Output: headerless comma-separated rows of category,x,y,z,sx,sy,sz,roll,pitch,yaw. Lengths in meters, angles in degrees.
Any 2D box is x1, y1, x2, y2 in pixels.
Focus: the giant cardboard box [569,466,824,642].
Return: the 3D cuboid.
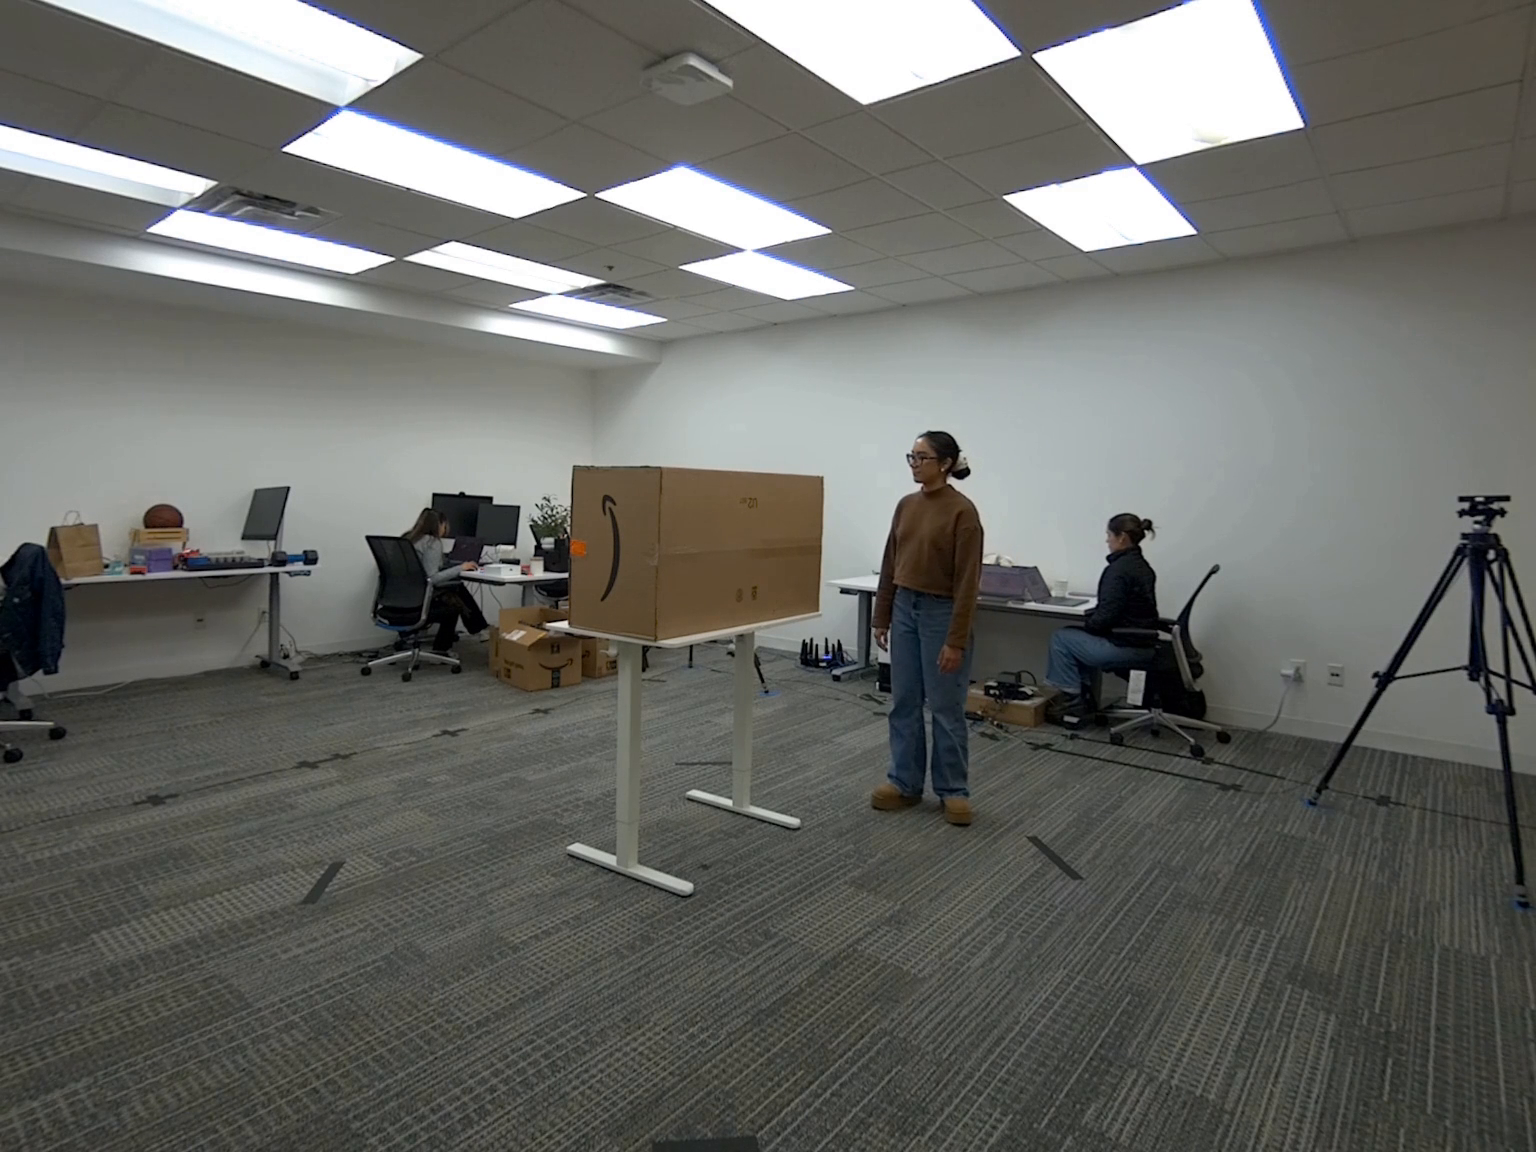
giant cardboard box,-0.251,-0.118,3.293,0.440,0.575,0.996,5,6,36
